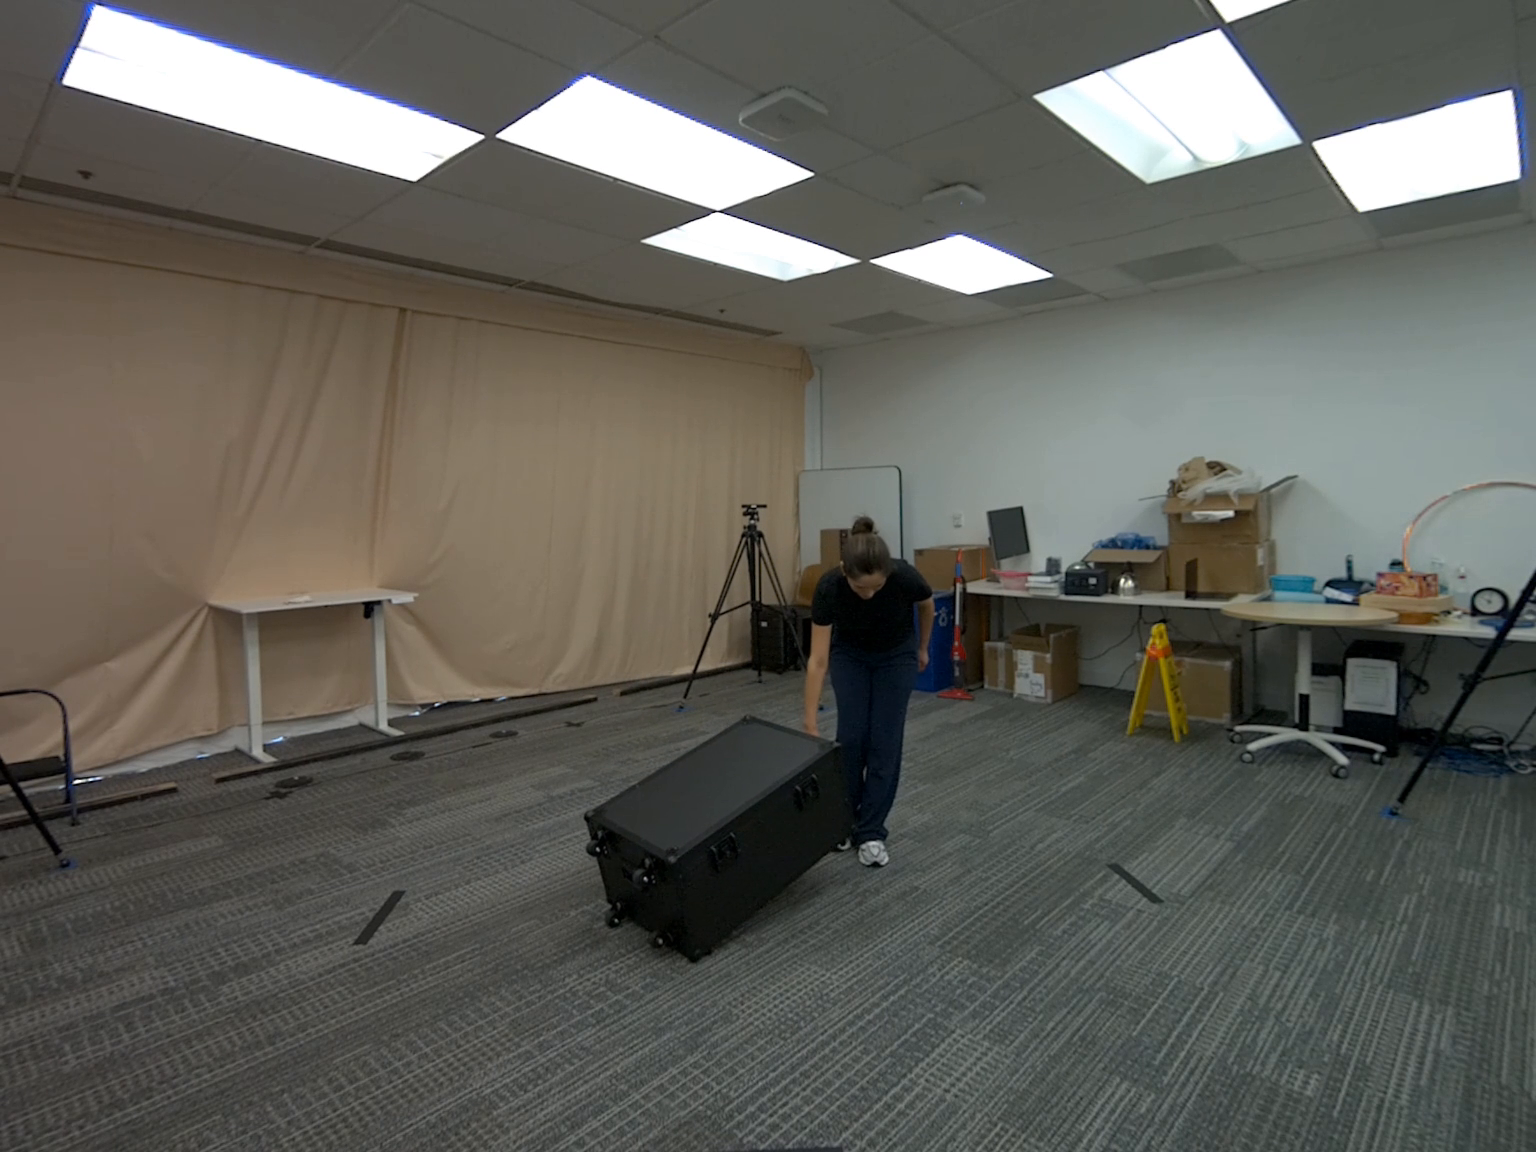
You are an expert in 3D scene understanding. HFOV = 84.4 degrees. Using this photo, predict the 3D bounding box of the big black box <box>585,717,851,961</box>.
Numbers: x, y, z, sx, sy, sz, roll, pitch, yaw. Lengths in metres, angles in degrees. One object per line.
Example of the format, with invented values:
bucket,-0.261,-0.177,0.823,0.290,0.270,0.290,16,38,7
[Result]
big black box,-0.115,0.861,2.948,0.843,0.391,0.539,-25,21,-38
